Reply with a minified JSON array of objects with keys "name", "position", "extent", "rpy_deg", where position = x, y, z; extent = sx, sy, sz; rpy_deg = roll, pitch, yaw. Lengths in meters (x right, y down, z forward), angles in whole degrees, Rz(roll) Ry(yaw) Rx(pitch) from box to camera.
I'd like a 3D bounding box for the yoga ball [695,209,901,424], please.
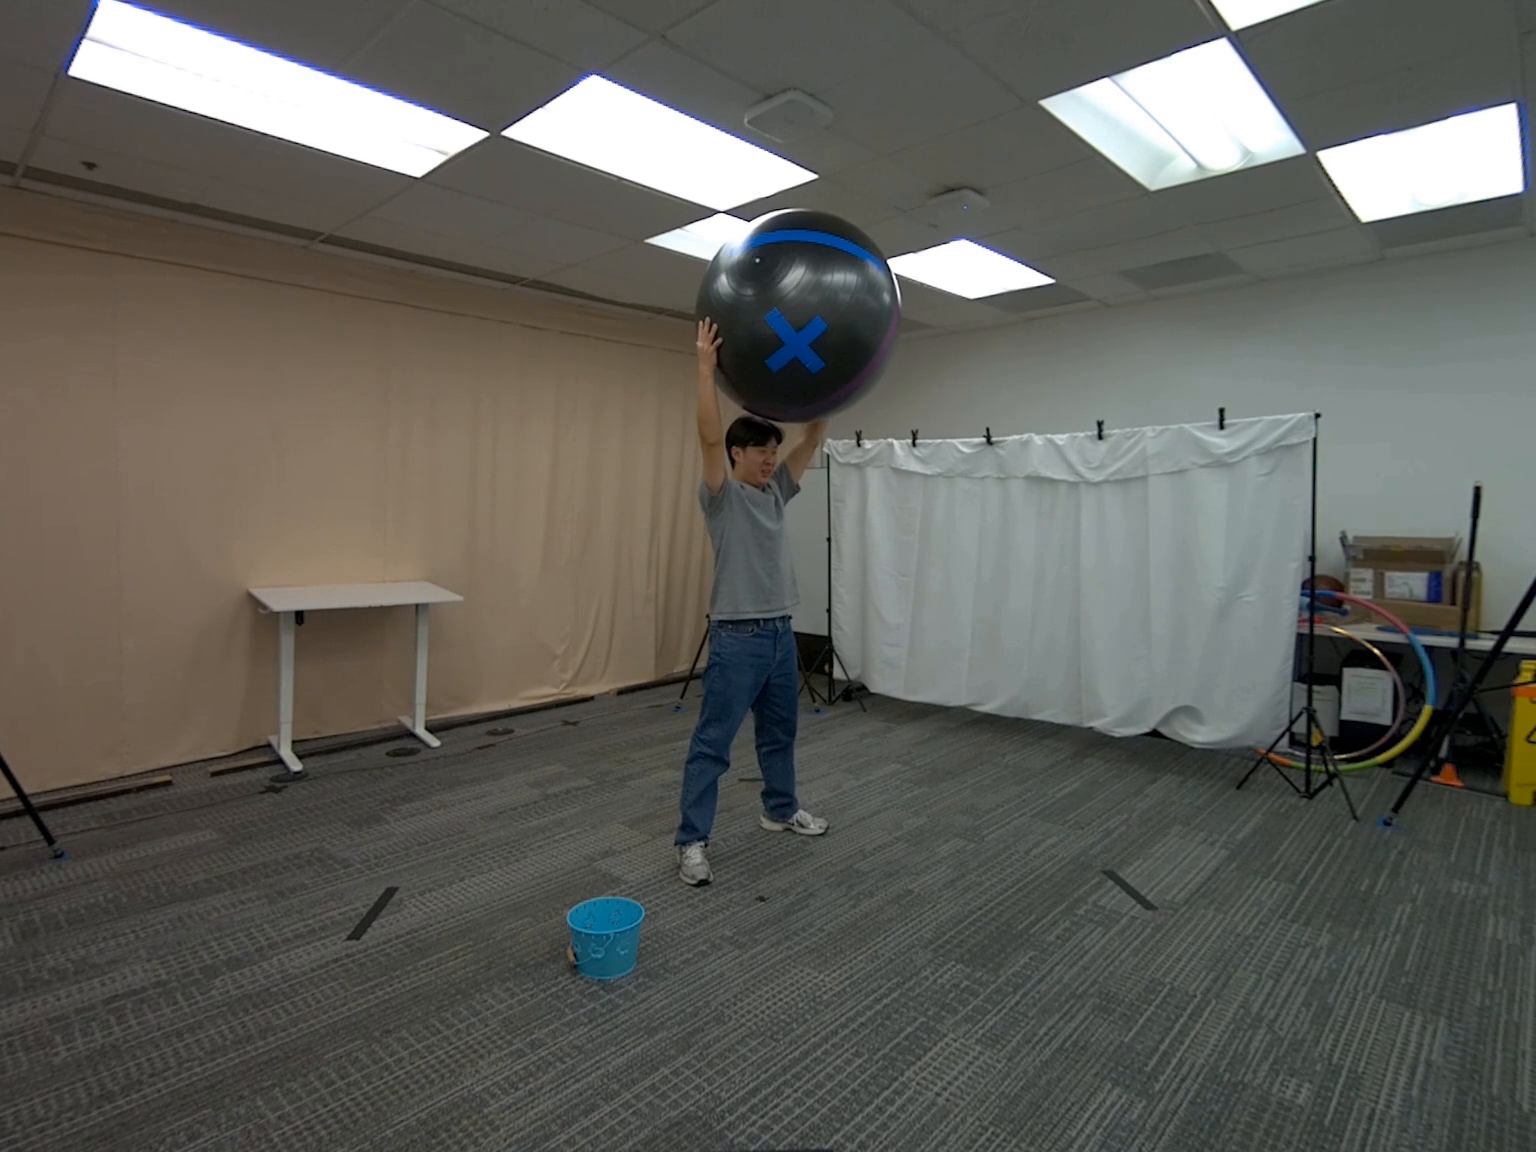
[{"name":"yoga ball","position":[0.114,-0.935,3.111],"extent":[0.757,0.756,0.760],"rpy_deg":[0,4,-2]}]
